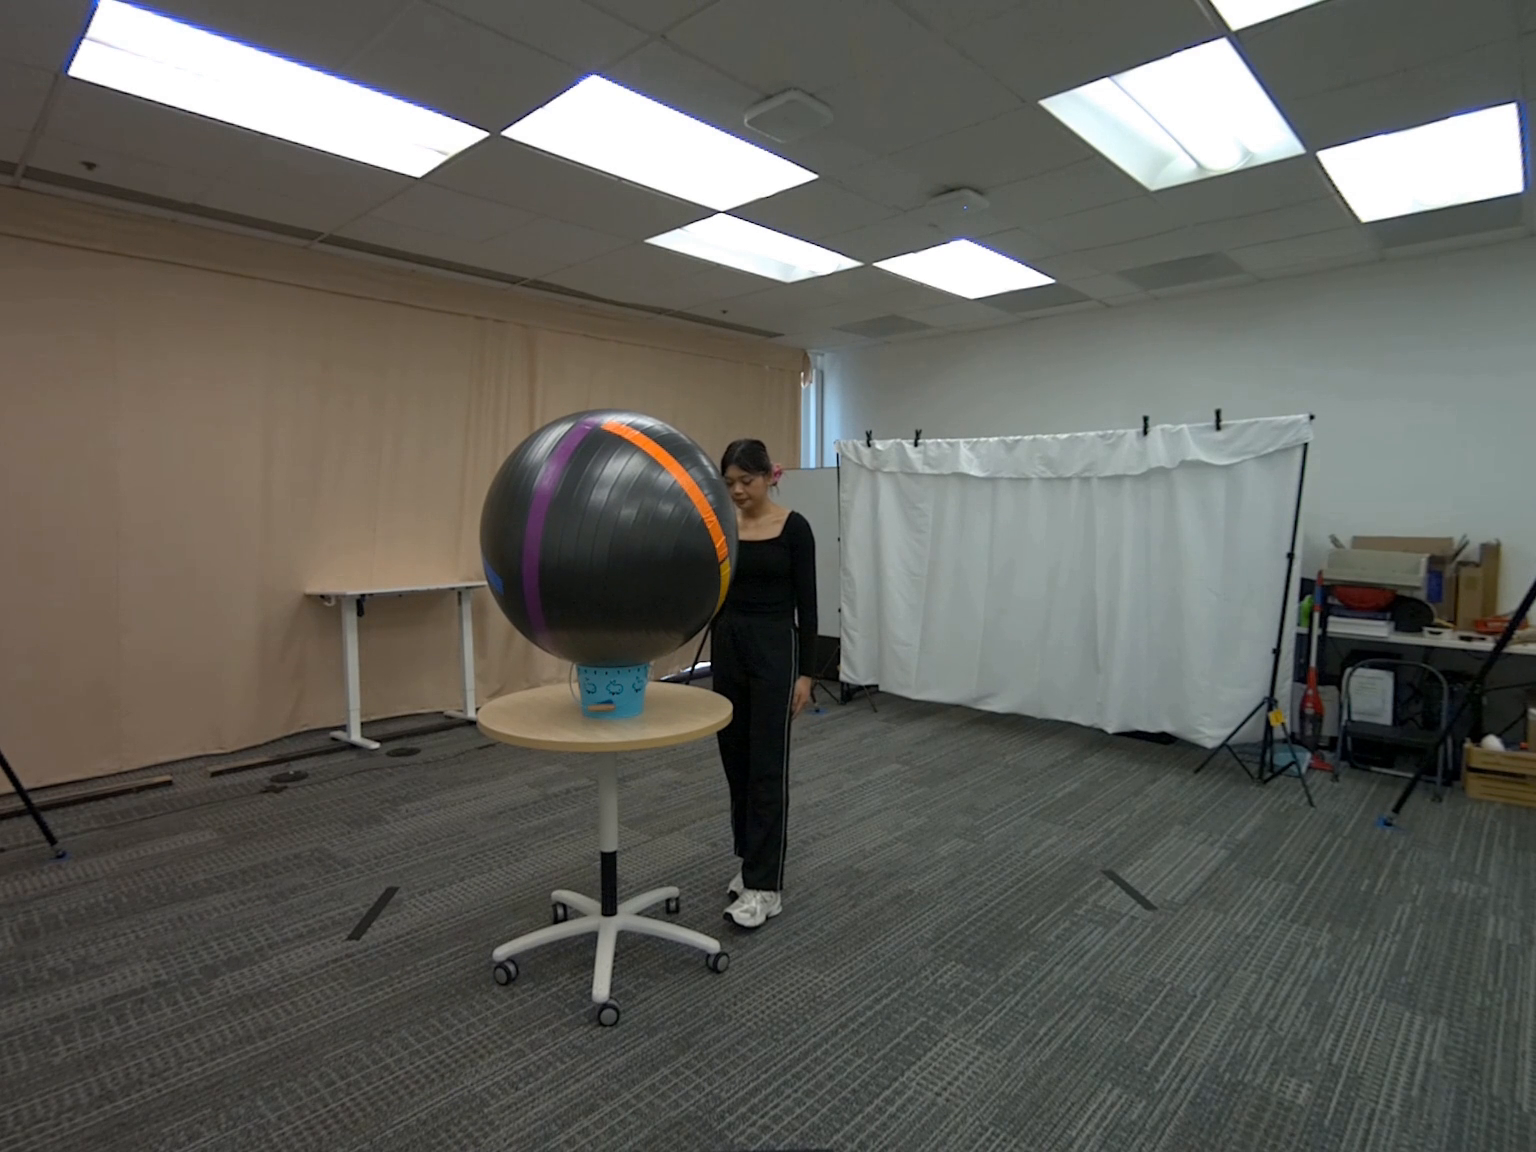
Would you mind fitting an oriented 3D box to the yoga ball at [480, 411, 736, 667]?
[{"bbox_3d":[-0.465,-0.107,2.487,0.757,0.756,0.760,0,4,-2],"label":"yoga ball"}]
